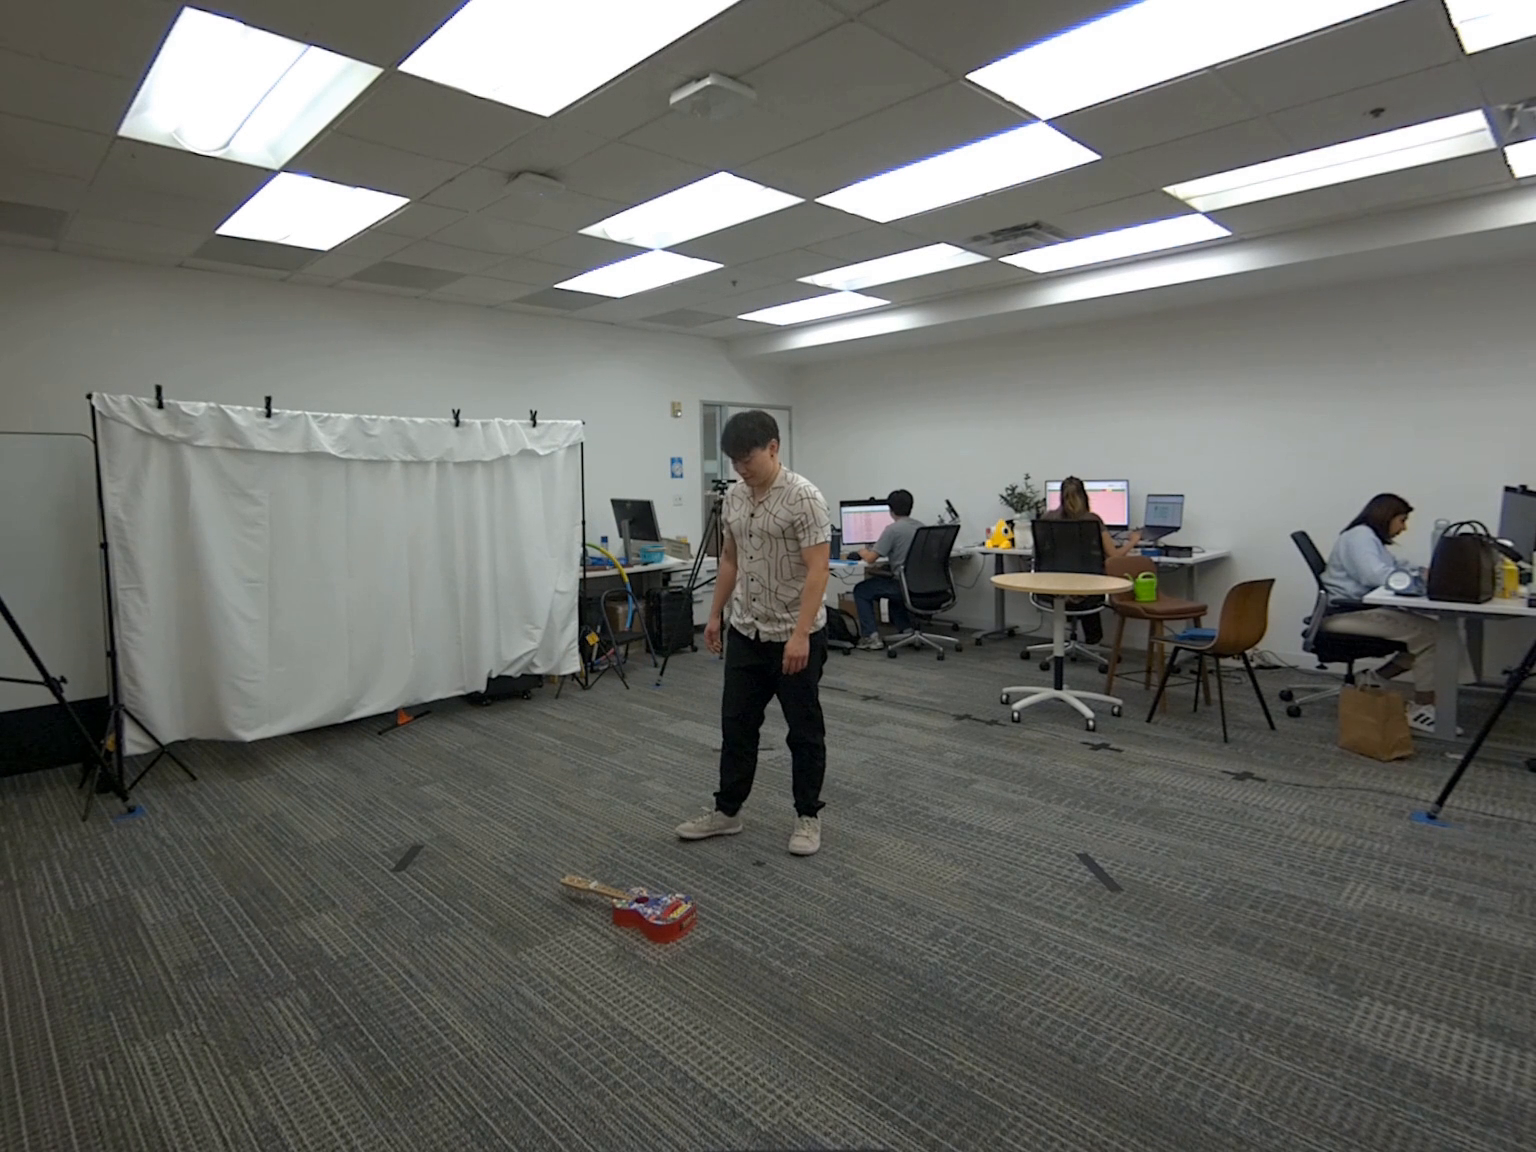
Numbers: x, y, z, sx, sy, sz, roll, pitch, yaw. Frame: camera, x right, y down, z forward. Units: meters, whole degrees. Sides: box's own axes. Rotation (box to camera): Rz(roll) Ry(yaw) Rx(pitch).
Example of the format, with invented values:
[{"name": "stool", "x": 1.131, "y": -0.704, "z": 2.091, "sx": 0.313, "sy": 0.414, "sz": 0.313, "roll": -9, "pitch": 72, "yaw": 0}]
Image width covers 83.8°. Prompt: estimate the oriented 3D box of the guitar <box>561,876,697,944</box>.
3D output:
[{"name": "guitar", "x": -0.450, "y": 1.059, "z": 2.792, "sx": 0.513, "sy": 0.070, "sz": 0.188, "roll": 5, "pitch": 9, "yaw": 37}]
